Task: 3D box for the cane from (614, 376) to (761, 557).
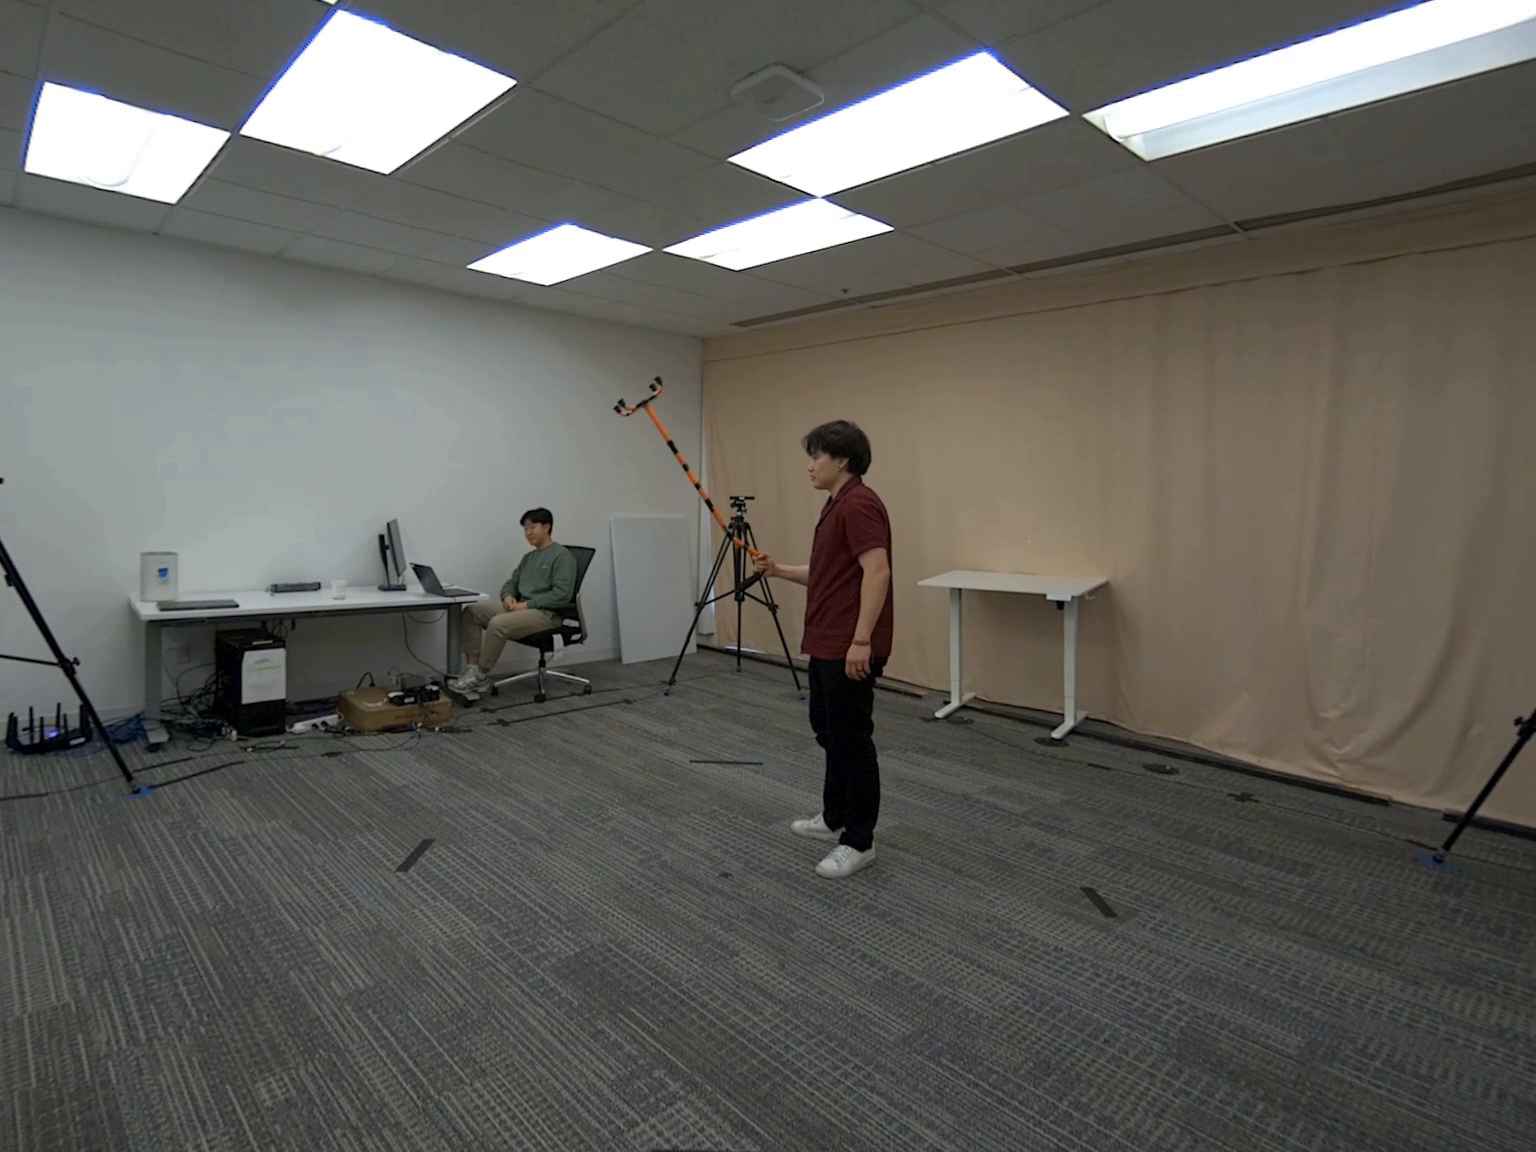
[{"bbox_3d":[-0.295,-0.358,3.416,0.206,0.904,0.153,-34,4,-13],"label":"cane"}]
